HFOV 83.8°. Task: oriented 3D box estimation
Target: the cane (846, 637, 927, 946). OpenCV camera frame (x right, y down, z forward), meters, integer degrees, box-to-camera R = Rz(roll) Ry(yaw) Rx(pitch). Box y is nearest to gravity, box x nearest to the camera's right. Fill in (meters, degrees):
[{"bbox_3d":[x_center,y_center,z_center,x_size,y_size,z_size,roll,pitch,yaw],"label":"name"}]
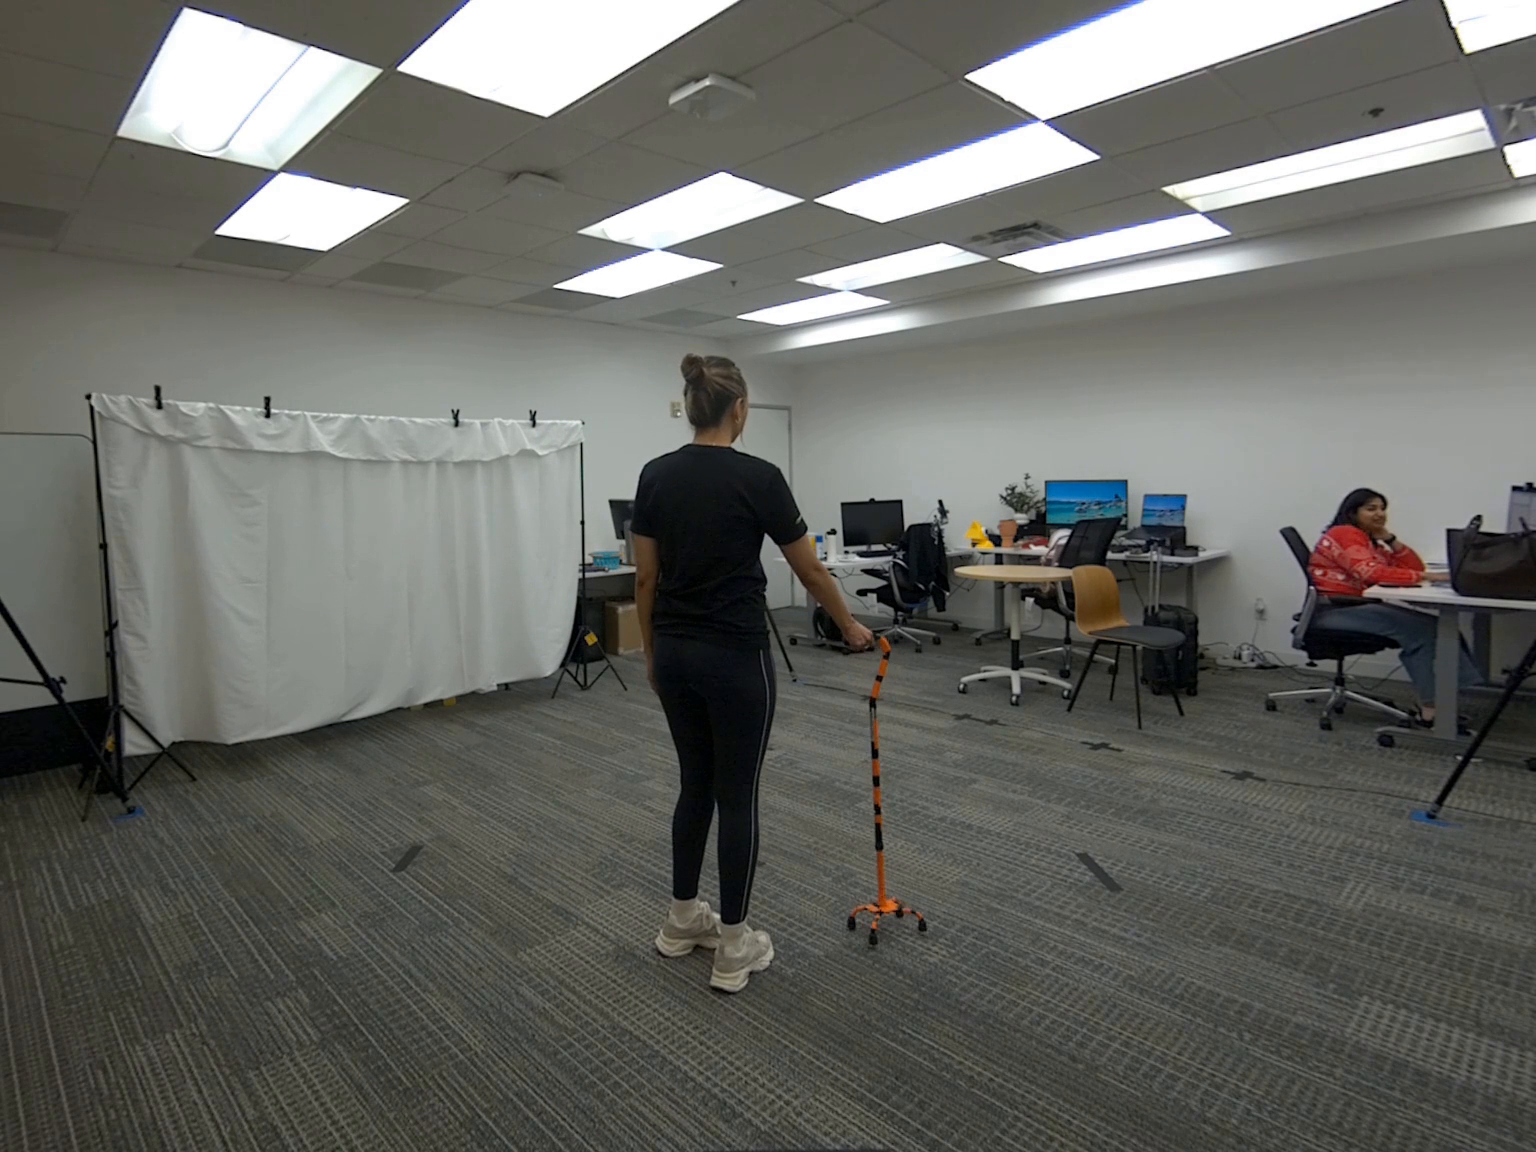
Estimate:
[{"bbox_3d":[0.343,0.626,2.626,0.203,0.907,0.154,-3,1,-22],"label":"cane"}]
